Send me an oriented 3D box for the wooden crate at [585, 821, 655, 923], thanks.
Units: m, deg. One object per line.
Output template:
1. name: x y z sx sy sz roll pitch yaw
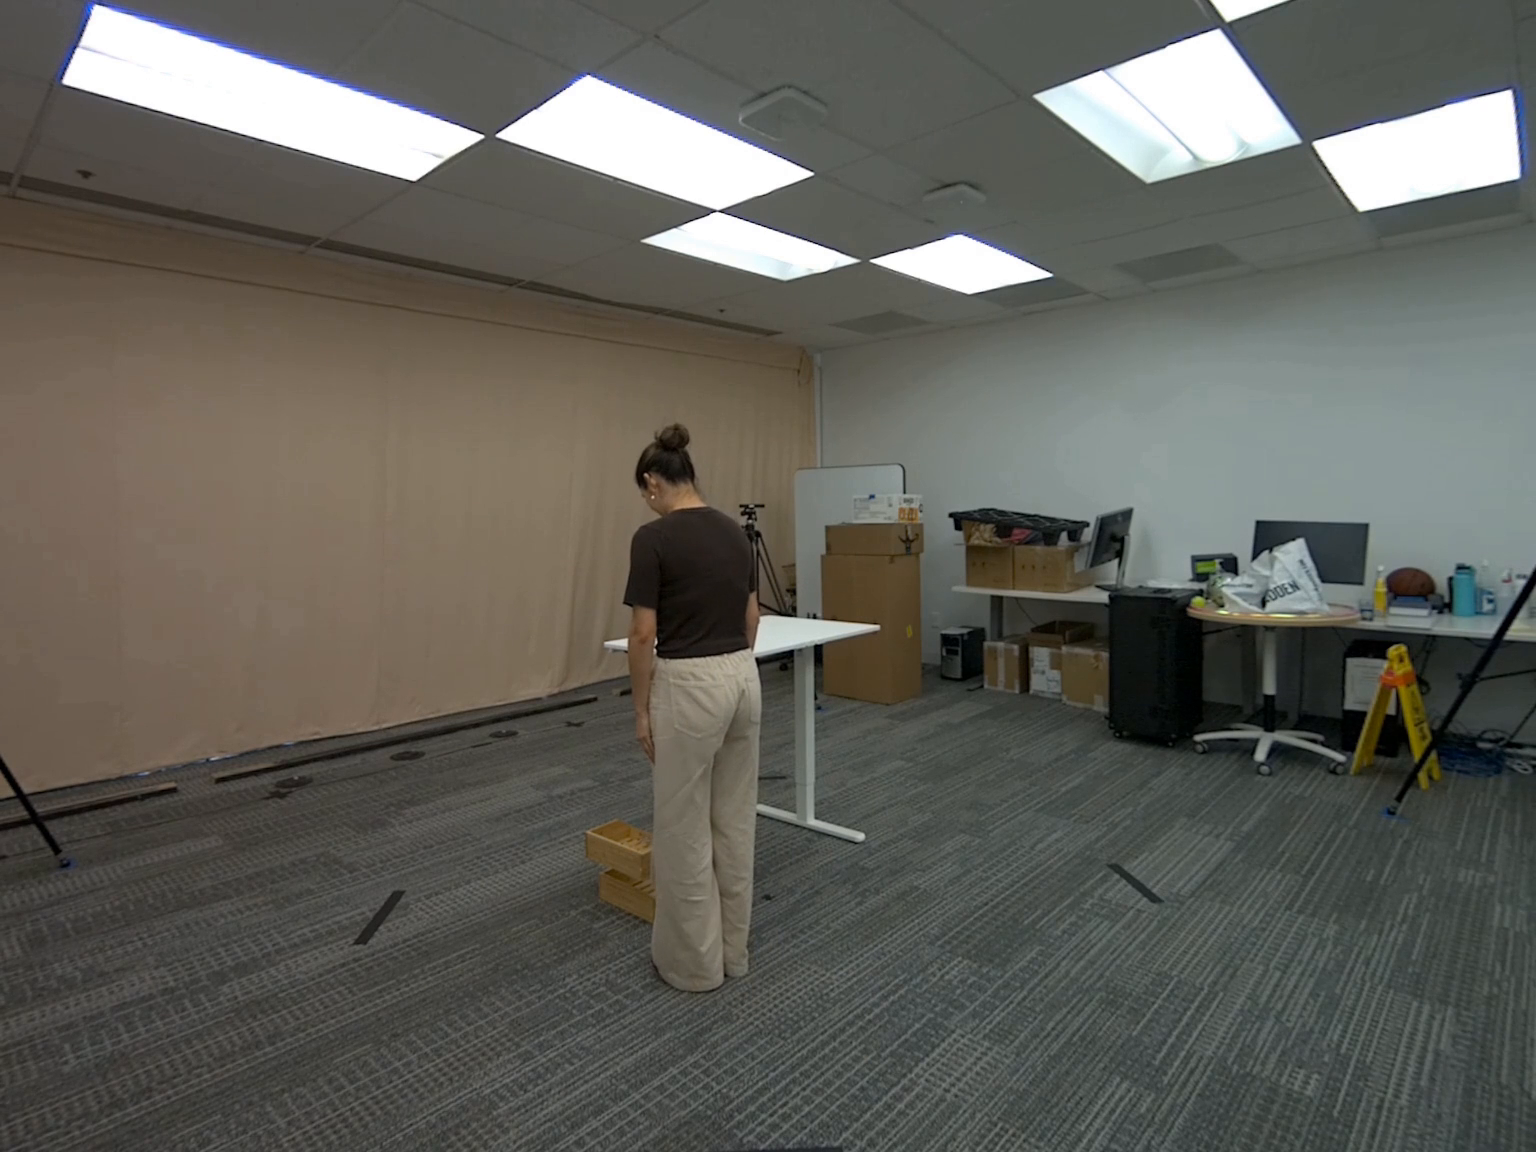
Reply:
1. wooden crate: -0.427 1.017 2.966 0.335 0.272 0.293 2 6 41
